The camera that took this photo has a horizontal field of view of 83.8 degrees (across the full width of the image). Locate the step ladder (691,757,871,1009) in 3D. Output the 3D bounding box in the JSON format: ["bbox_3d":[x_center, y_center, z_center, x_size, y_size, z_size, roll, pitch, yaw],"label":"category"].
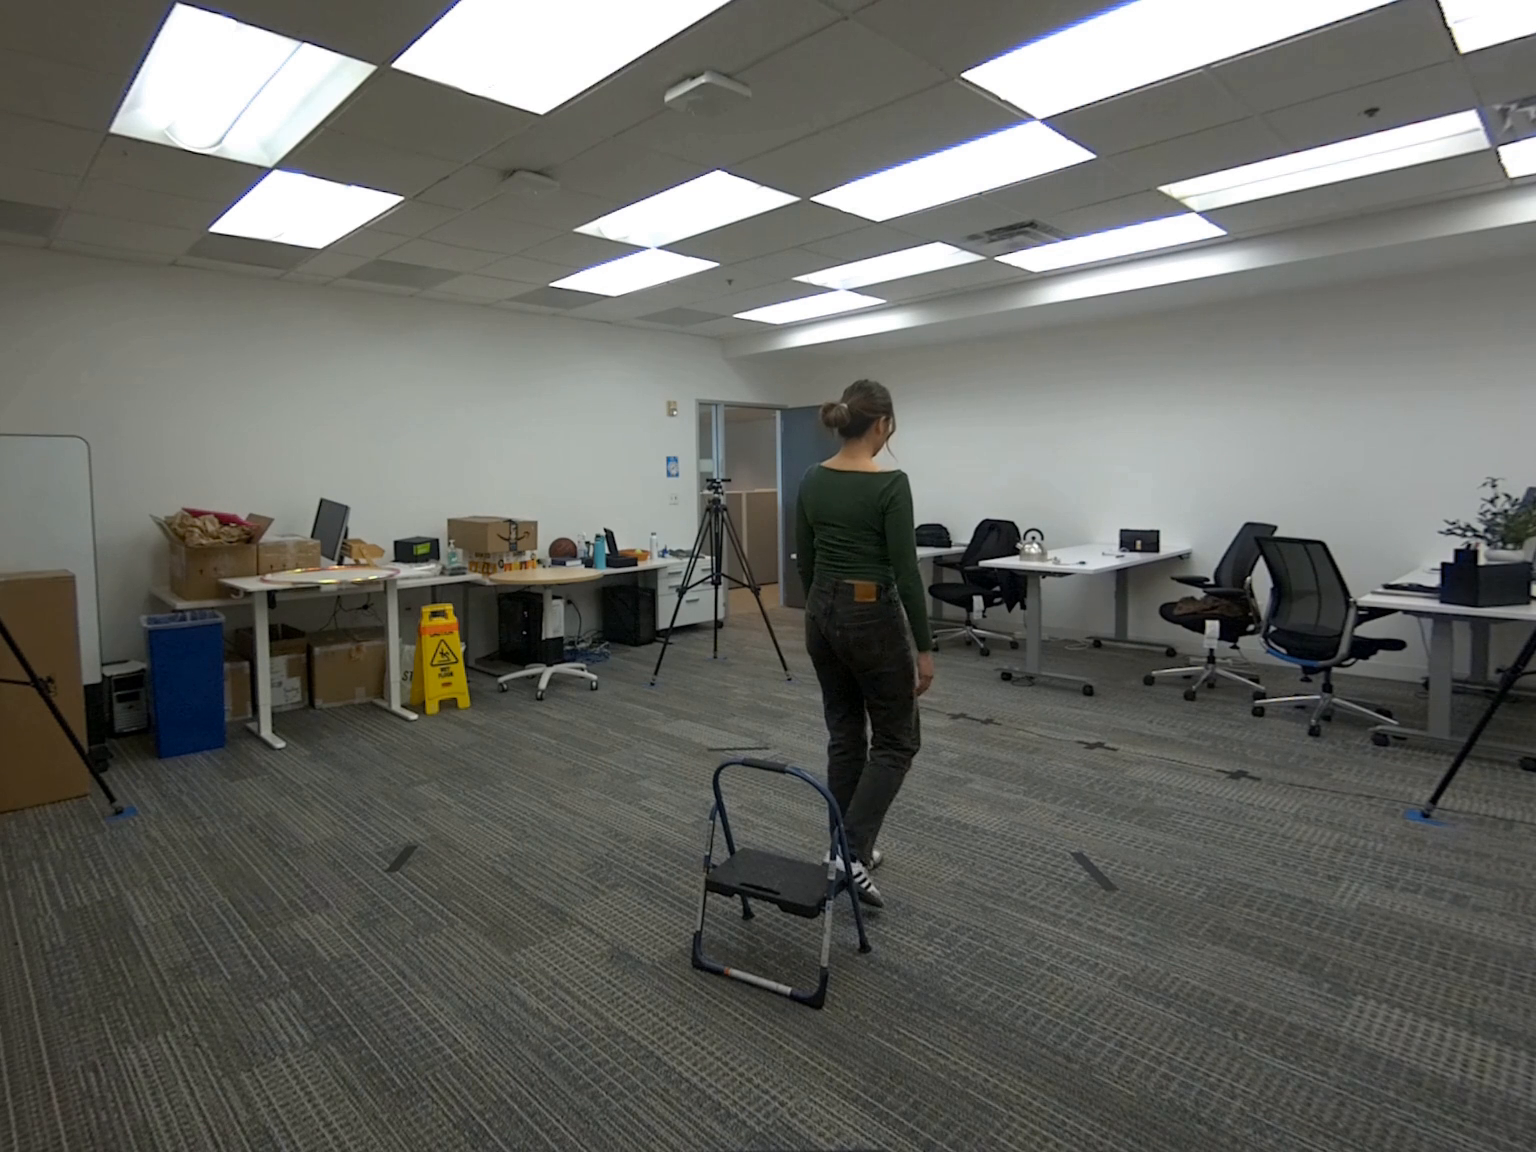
[{"bbox_3d":[0.035,0.813,2.477,0.442,0.604,0.342,1,4,29],"label":"step ladder"}]
